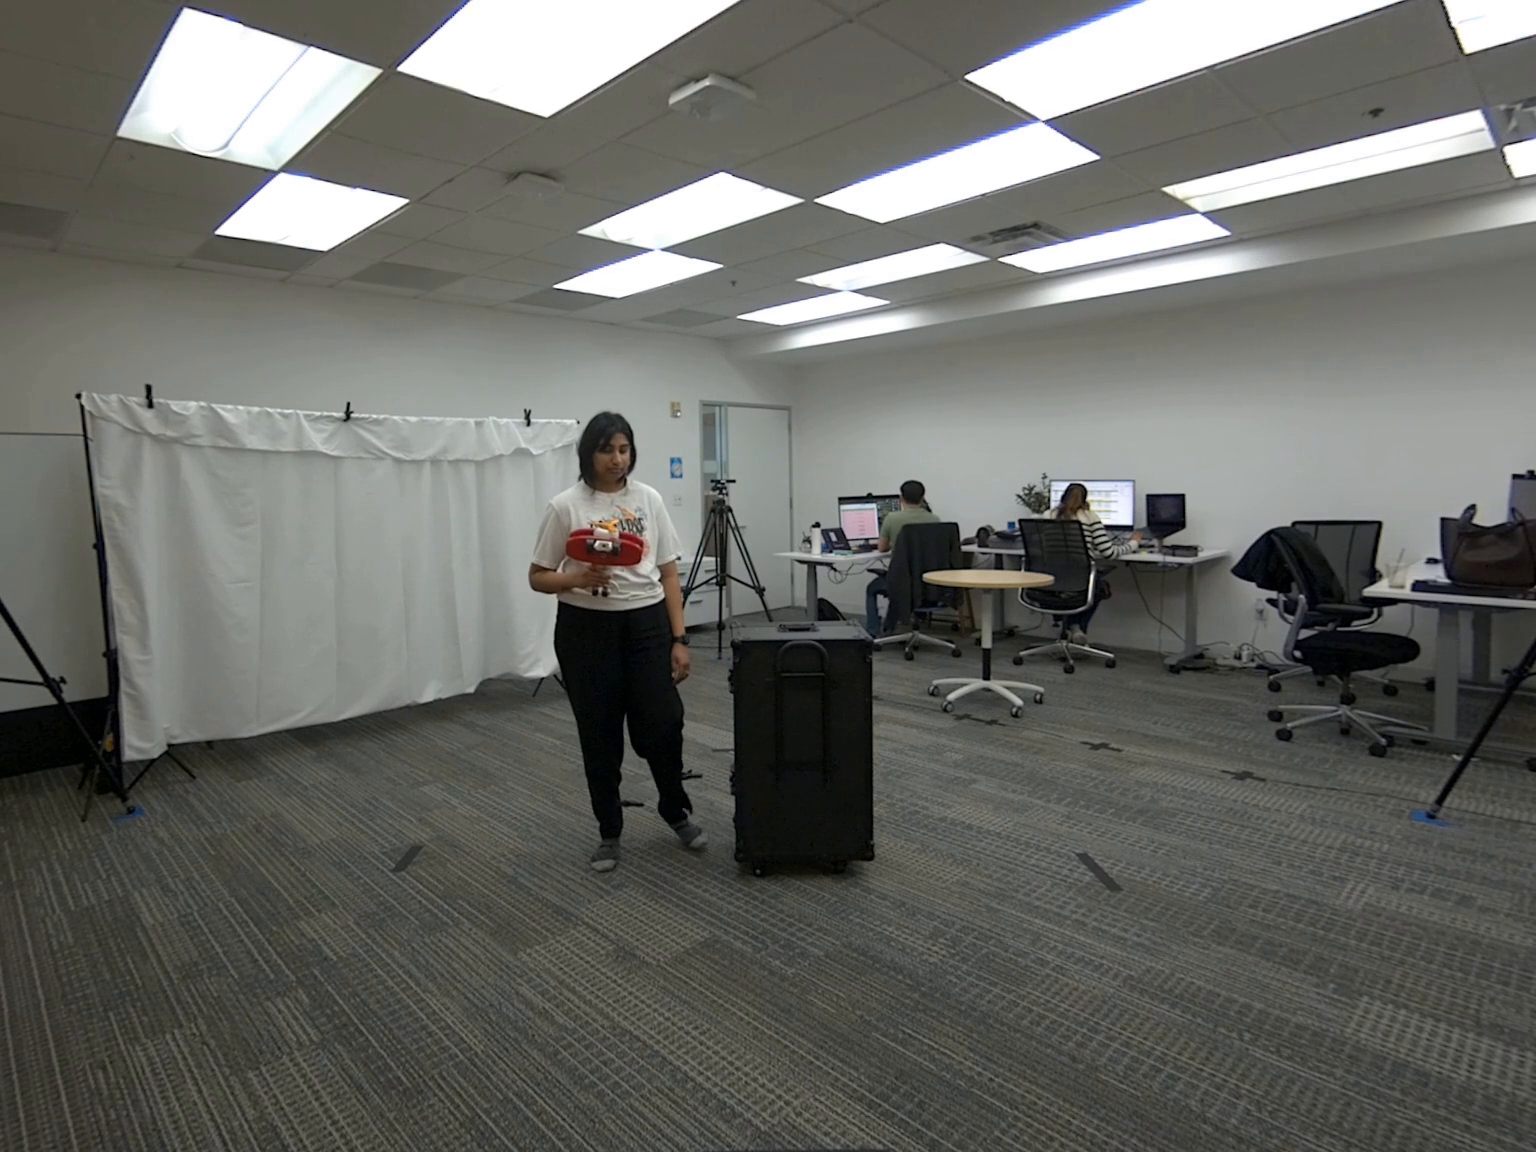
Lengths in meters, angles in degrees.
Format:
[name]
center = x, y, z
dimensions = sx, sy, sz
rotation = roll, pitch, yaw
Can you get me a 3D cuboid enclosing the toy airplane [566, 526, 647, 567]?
[toy airplane]
center = -0.571, -0.061, 2.897
dimensions = 0.247, 0.258, 0.160
rotation = 30, 31, -15
